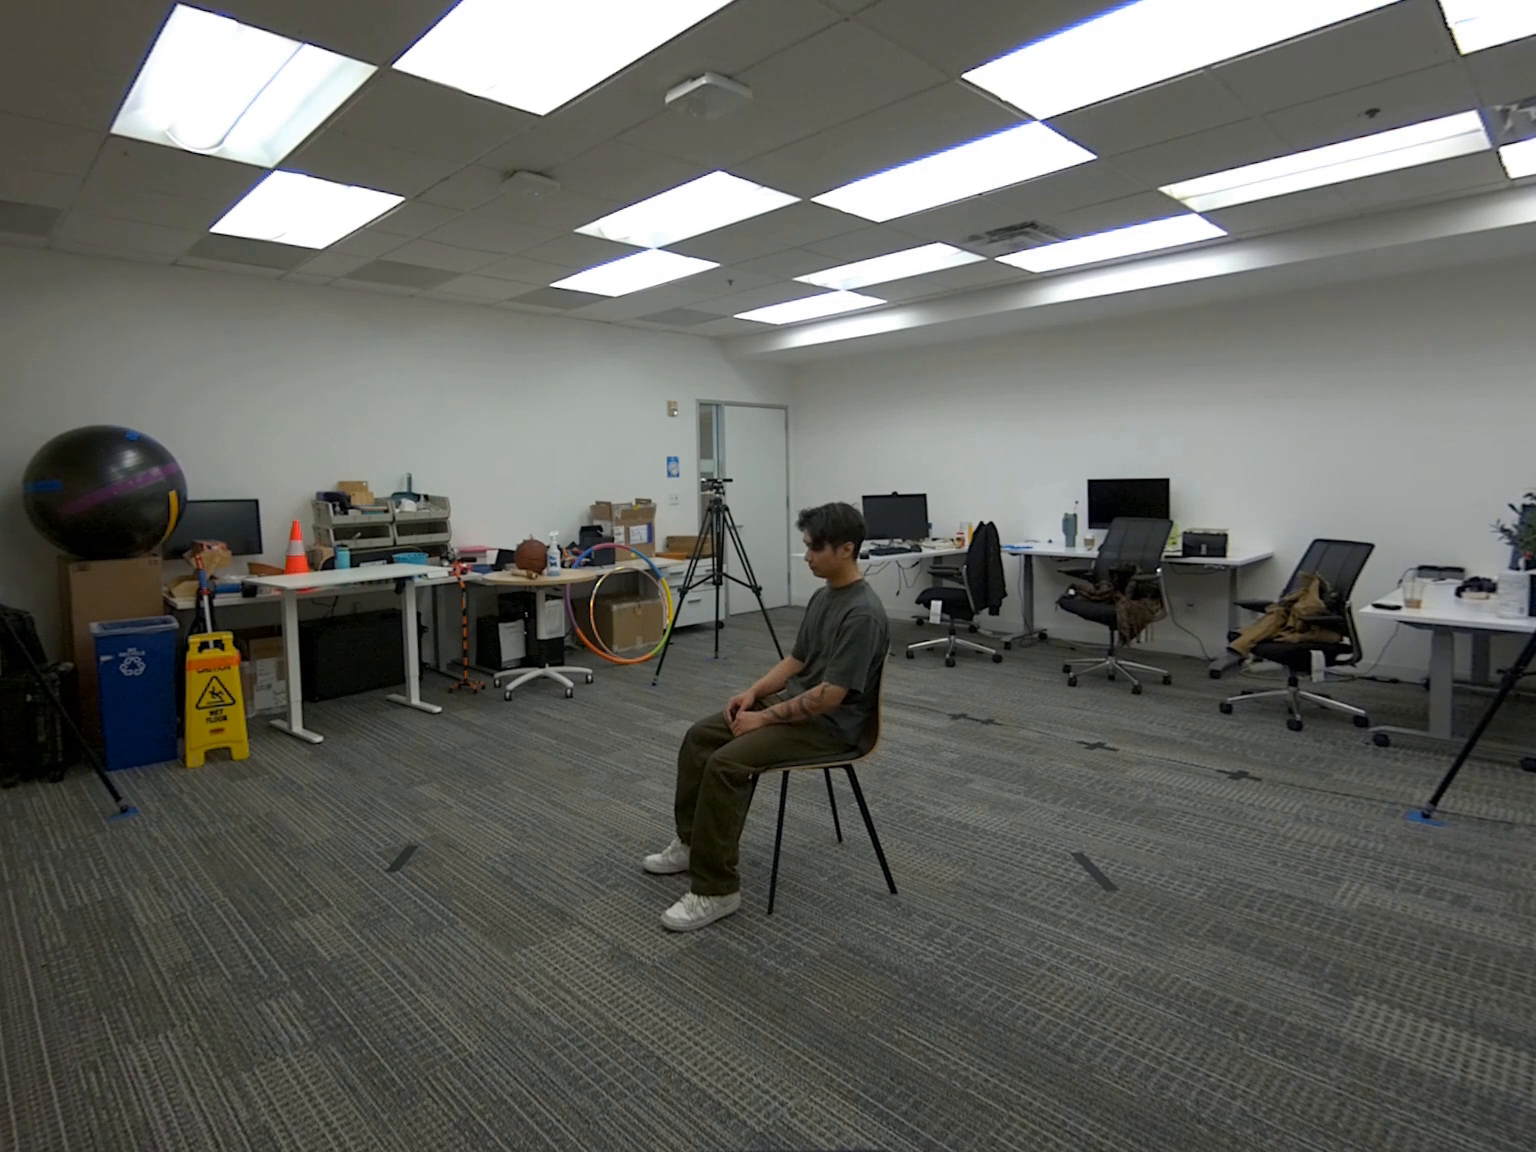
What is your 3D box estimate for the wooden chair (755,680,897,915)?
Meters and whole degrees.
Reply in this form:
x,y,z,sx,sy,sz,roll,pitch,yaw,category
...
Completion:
x,y,z,sx,sy,sz,roll,pitch,yaw,category
0.135,0.623,2.978,0.514,0.875,0.488,2,4,-18,wooden chair
